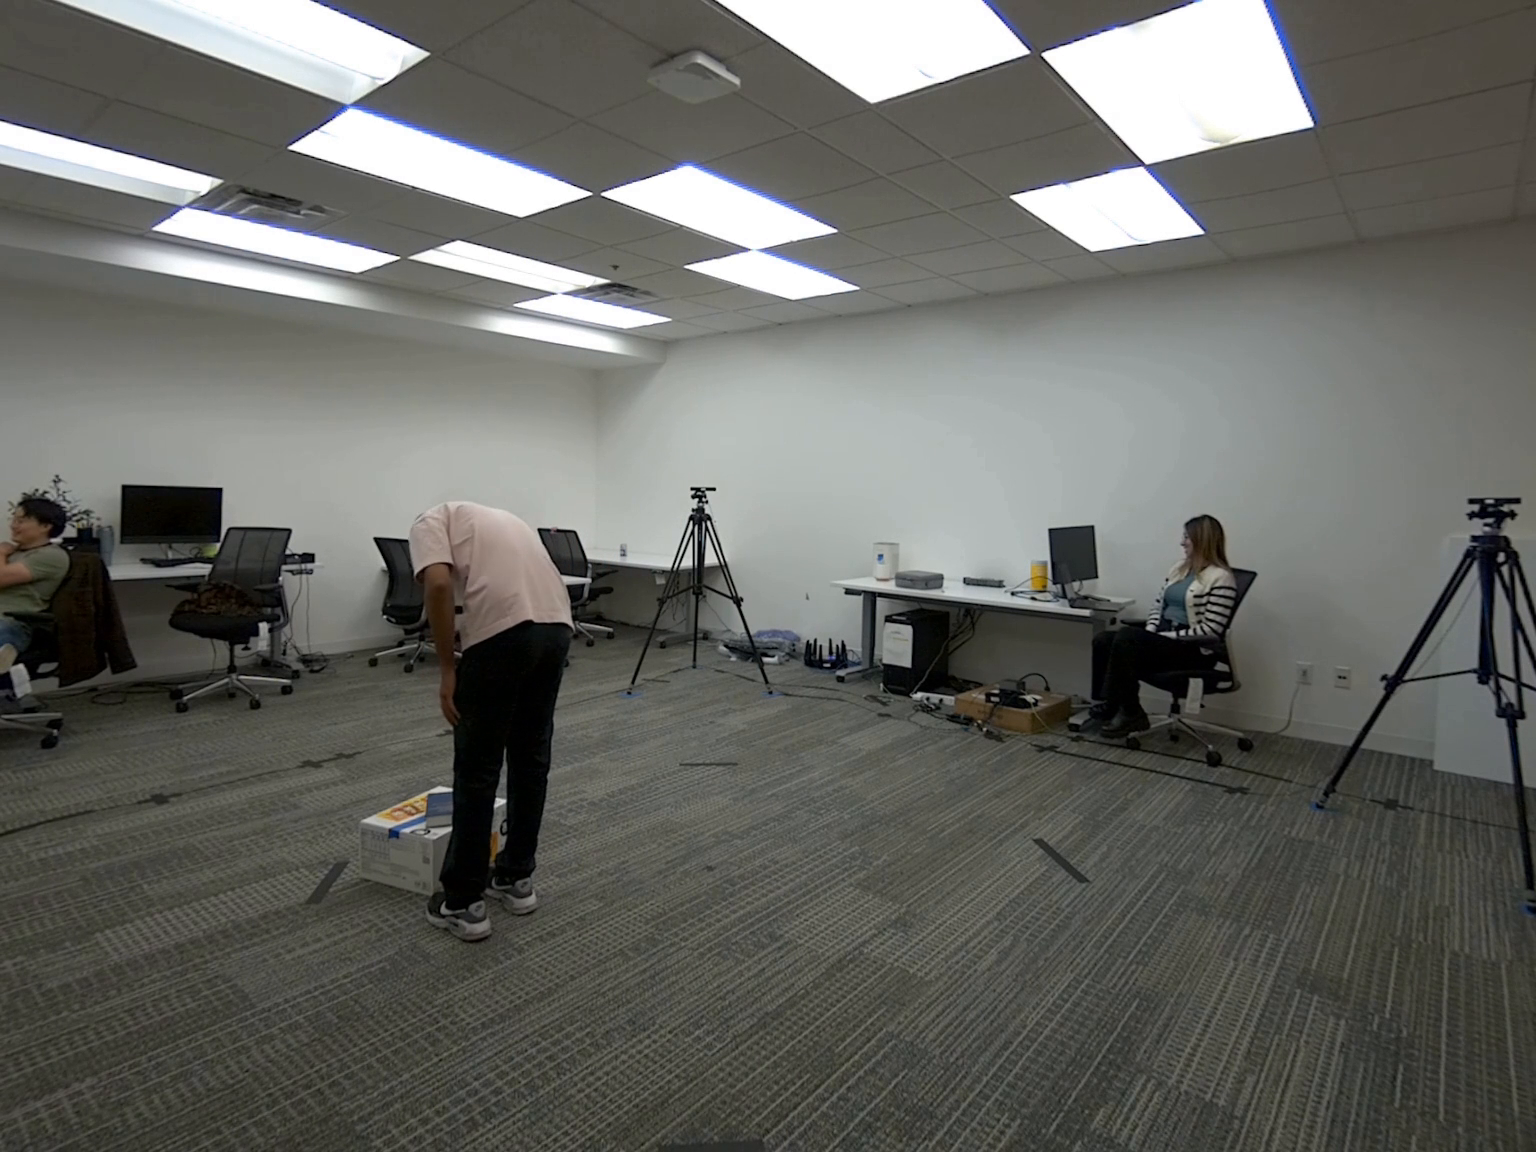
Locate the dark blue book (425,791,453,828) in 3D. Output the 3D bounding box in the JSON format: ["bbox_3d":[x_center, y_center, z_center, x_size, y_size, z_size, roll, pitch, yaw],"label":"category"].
[{"bbox_3d":[-1.169,0.838,3.077,0.160,0.045,0.250,-3,6,-19],"label":"dark blue book"}]
